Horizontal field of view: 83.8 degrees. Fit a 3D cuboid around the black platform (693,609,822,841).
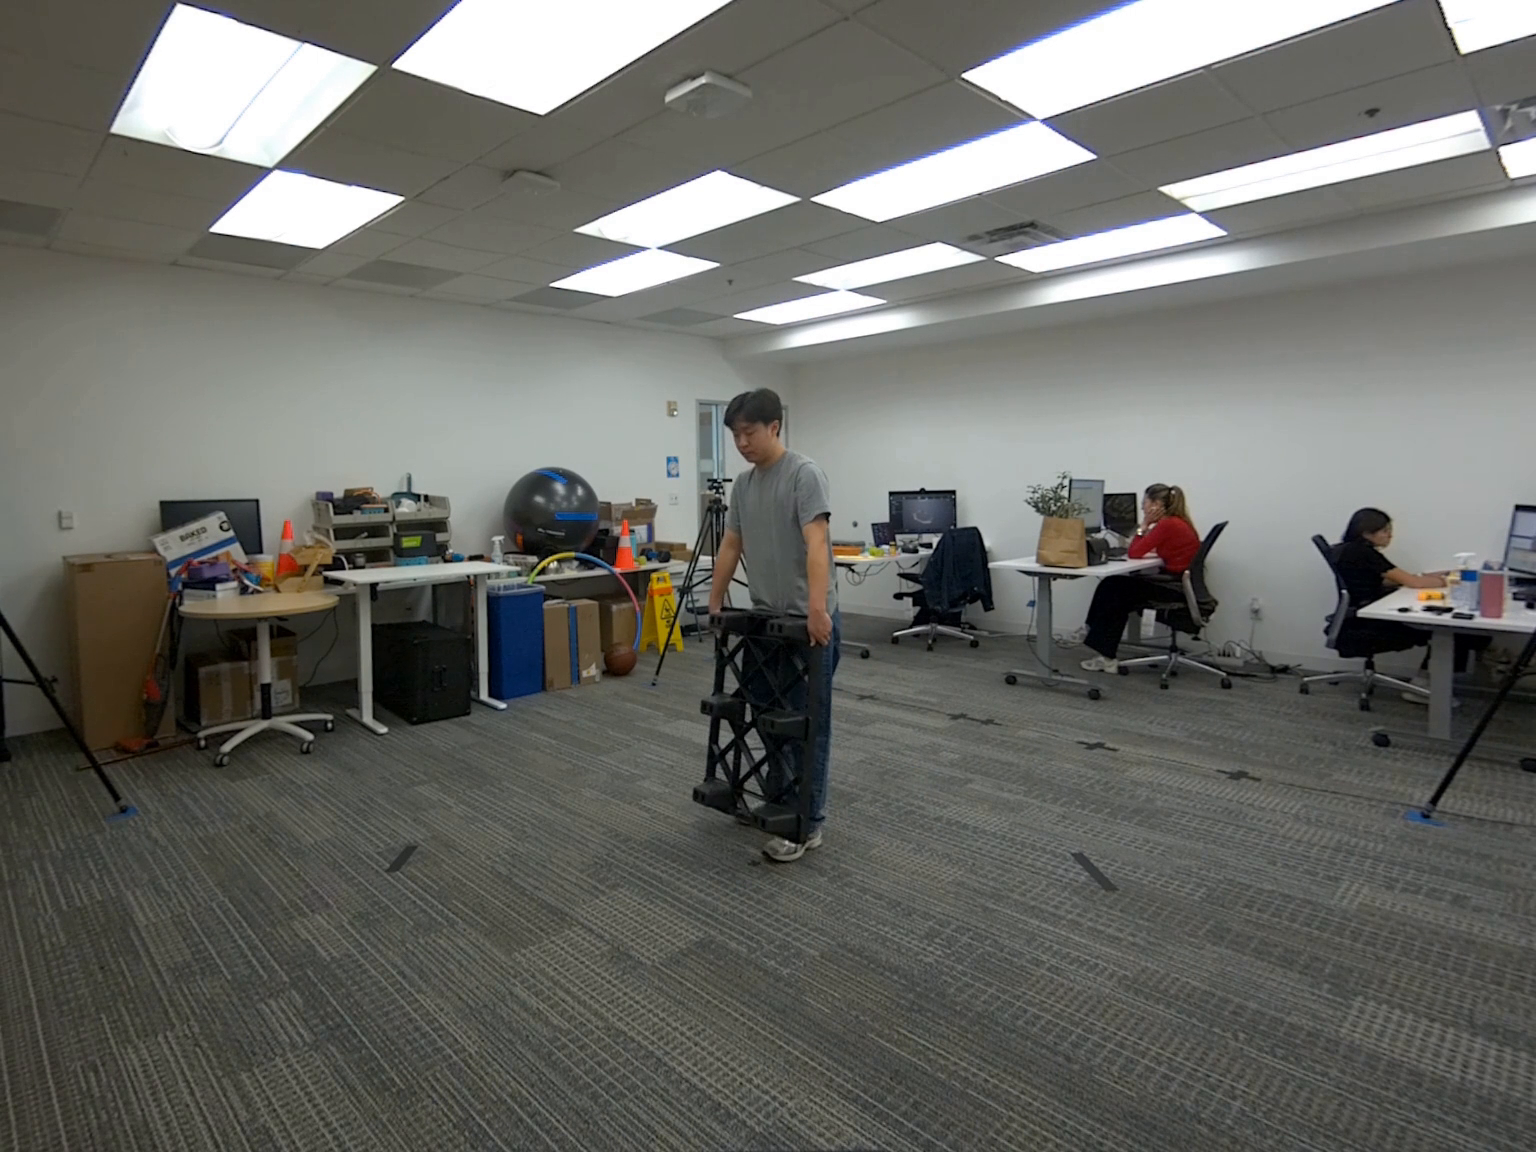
[{"bbox_3d":[-0.059,0.539,3.224,0.139,0.808,0.622,8,-5,-37],"label":"black platform"}]
